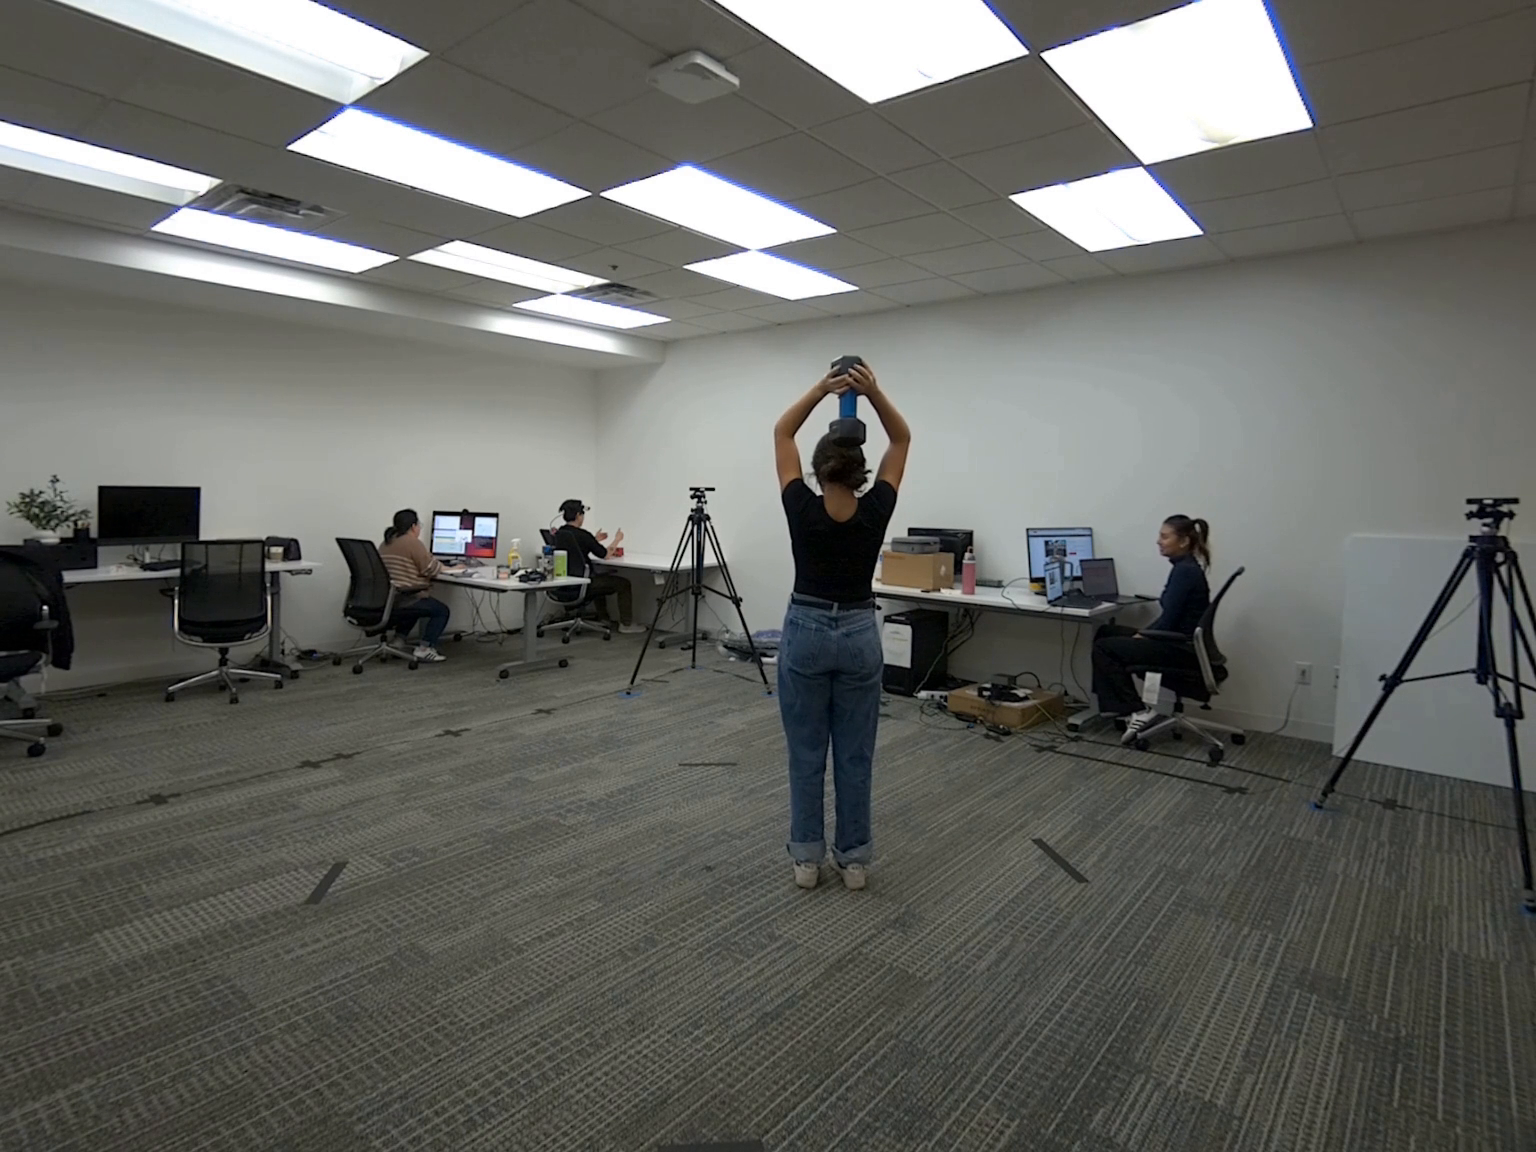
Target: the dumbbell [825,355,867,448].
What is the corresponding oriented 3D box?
[{"bbox_3d":[0.261,-0.578,2.827,0.112,0.296,0.118,-3,-12,34],"label":"dumbbell"}]
